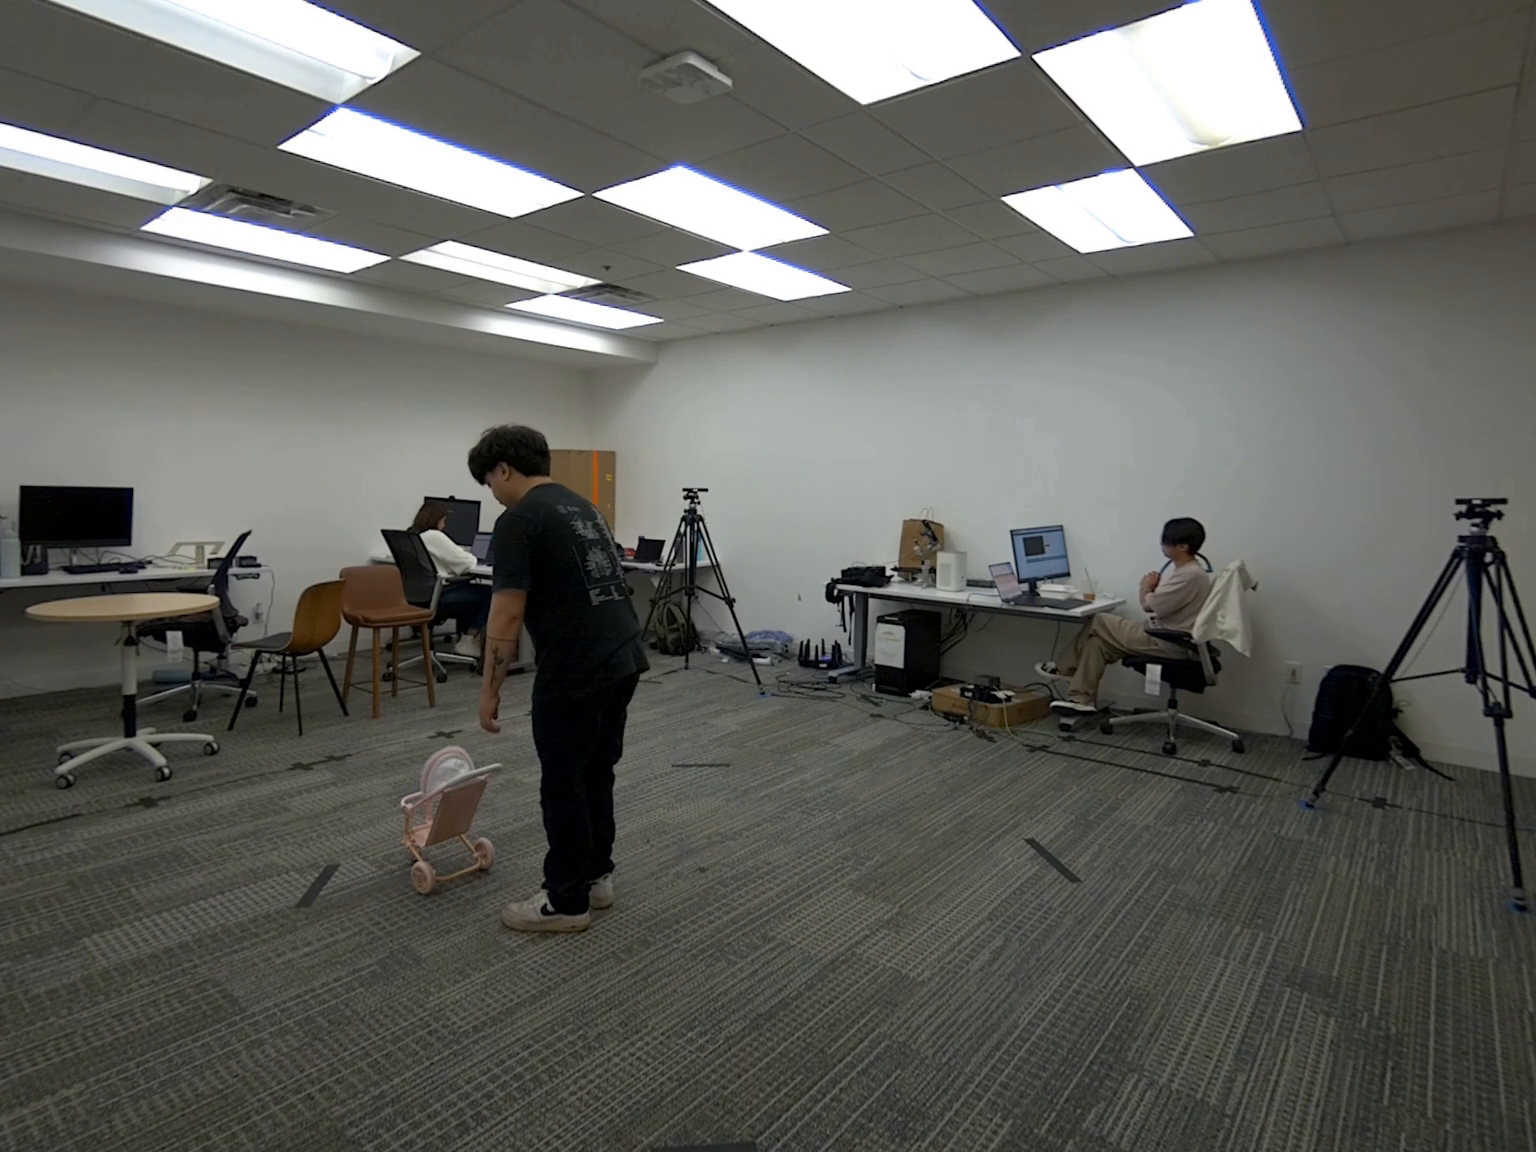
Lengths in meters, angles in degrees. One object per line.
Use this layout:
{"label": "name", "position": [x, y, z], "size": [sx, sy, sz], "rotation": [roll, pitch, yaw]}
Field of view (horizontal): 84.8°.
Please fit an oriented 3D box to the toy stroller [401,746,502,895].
{"label": "toy stroller", "position": [-1.161, 0.840, 3.015], "size": [0.355, 0.530, 0.273], "rotation": [25, 18, 38]}
